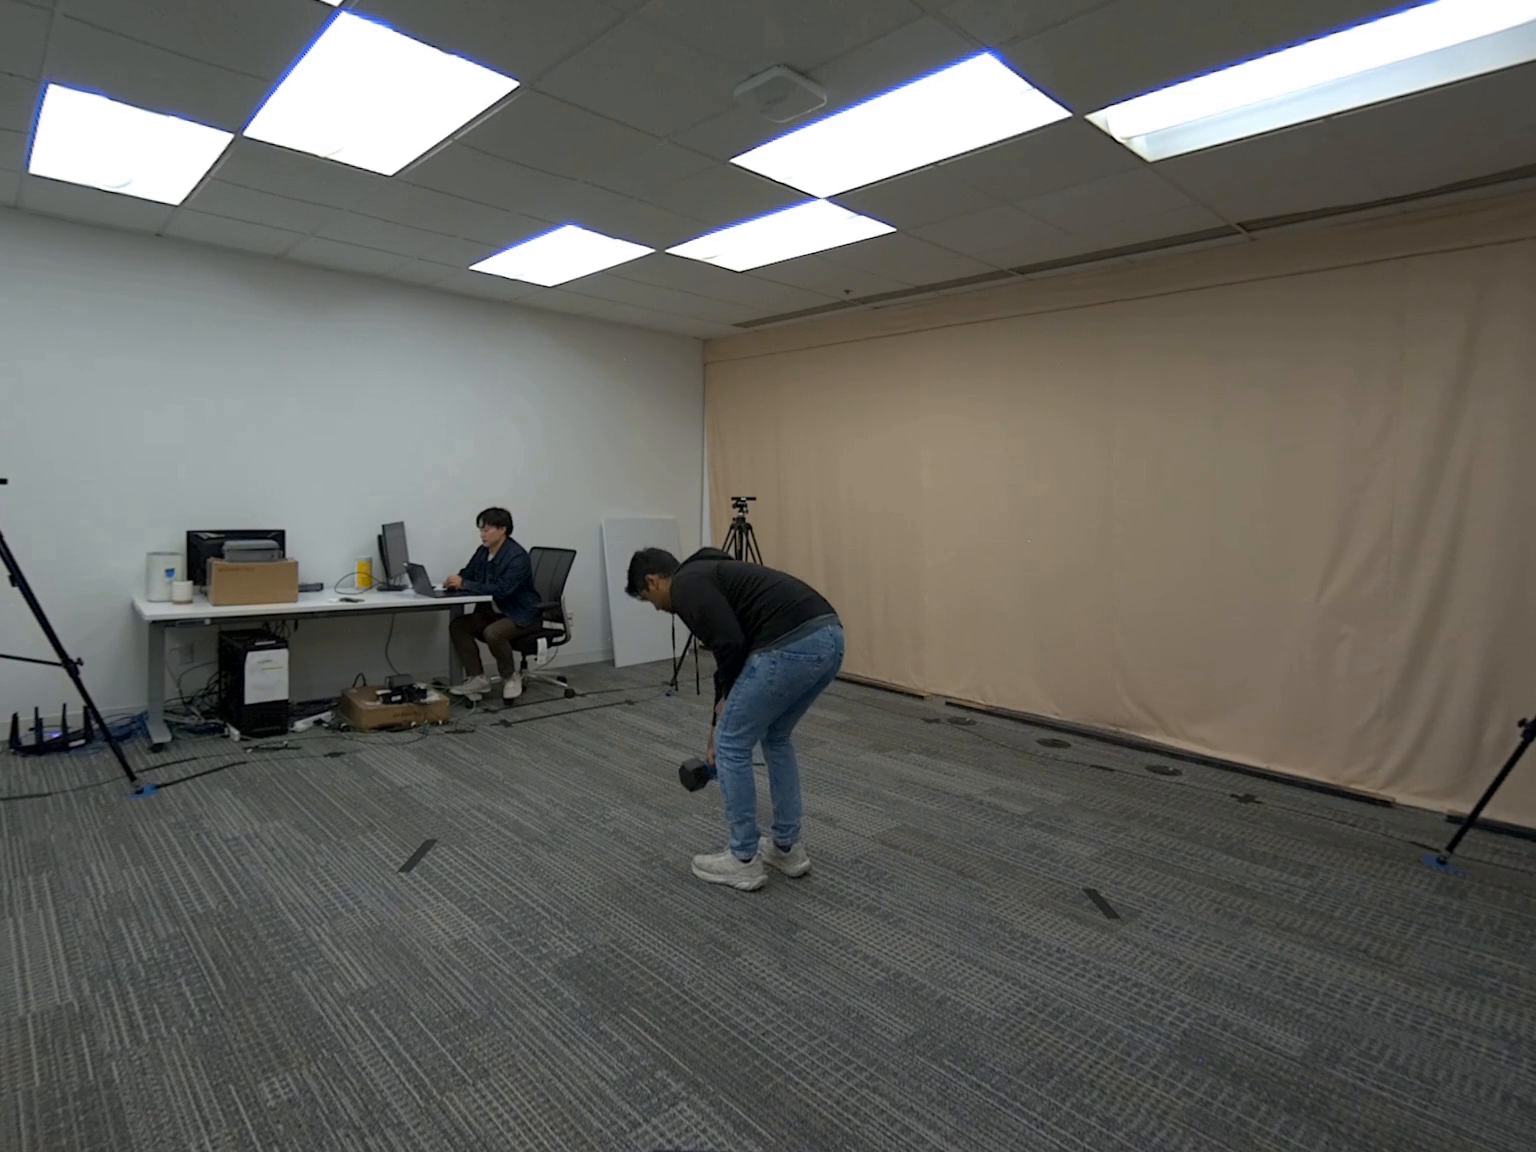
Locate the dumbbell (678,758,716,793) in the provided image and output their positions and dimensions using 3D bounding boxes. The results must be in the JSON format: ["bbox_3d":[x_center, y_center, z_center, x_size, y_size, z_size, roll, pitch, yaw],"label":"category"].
[{"bbox_3d":[-0.213,0.742,3.310,0.288,0.123,0.110,-9,-6,-36],"label":"dumbbell"}]
